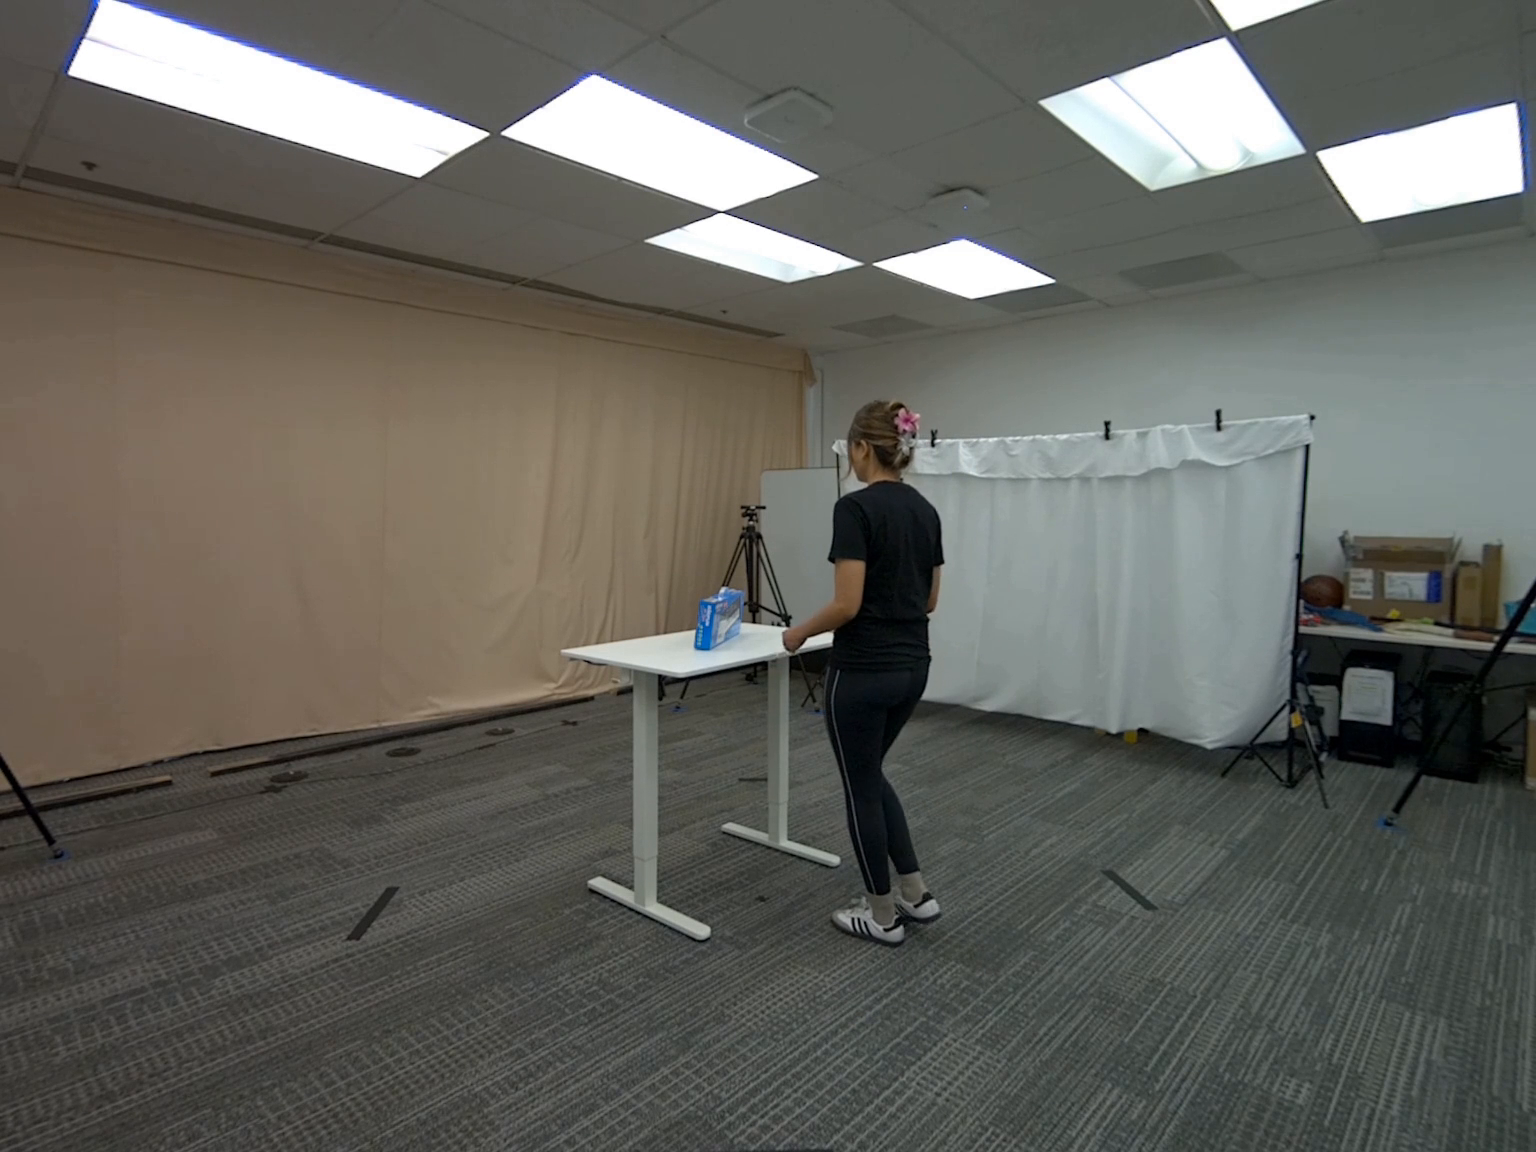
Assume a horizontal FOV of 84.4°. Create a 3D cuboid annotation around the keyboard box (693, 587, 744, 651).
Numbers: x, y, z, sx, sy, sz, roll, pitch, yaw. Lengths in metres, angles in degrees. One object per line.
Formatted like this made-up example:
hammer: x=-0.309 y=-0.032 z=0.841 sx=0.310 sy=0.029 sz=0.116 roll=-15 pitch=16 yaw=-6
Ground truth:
keyboard box: x=-0.175 y=0.159 z=3.167 sx=0.060 sy=0.175 sz=0.431 roll=8 pitch=6 yaw=12
